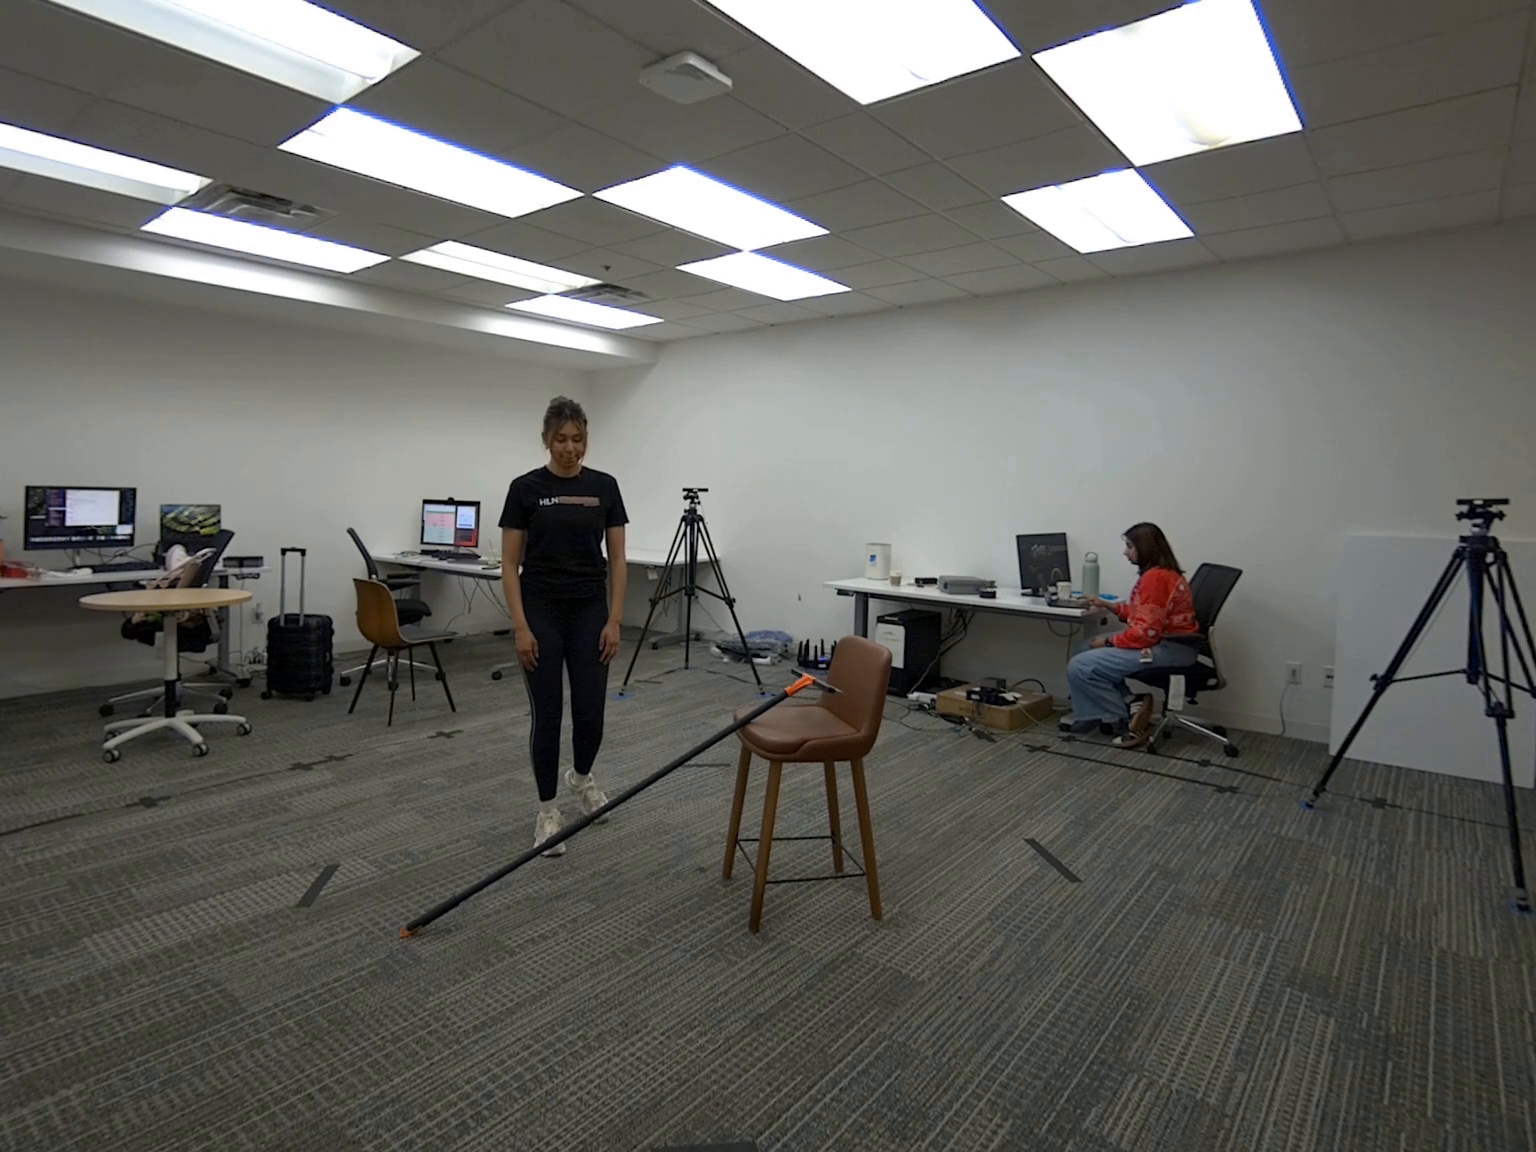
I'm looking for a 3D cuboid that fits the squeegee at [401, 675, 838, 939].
[{"bbox_3d":[-0.481,0.705,2.755,1.530,0.054,0.433,-30,-9,-11],"label":"squeegee"}]
